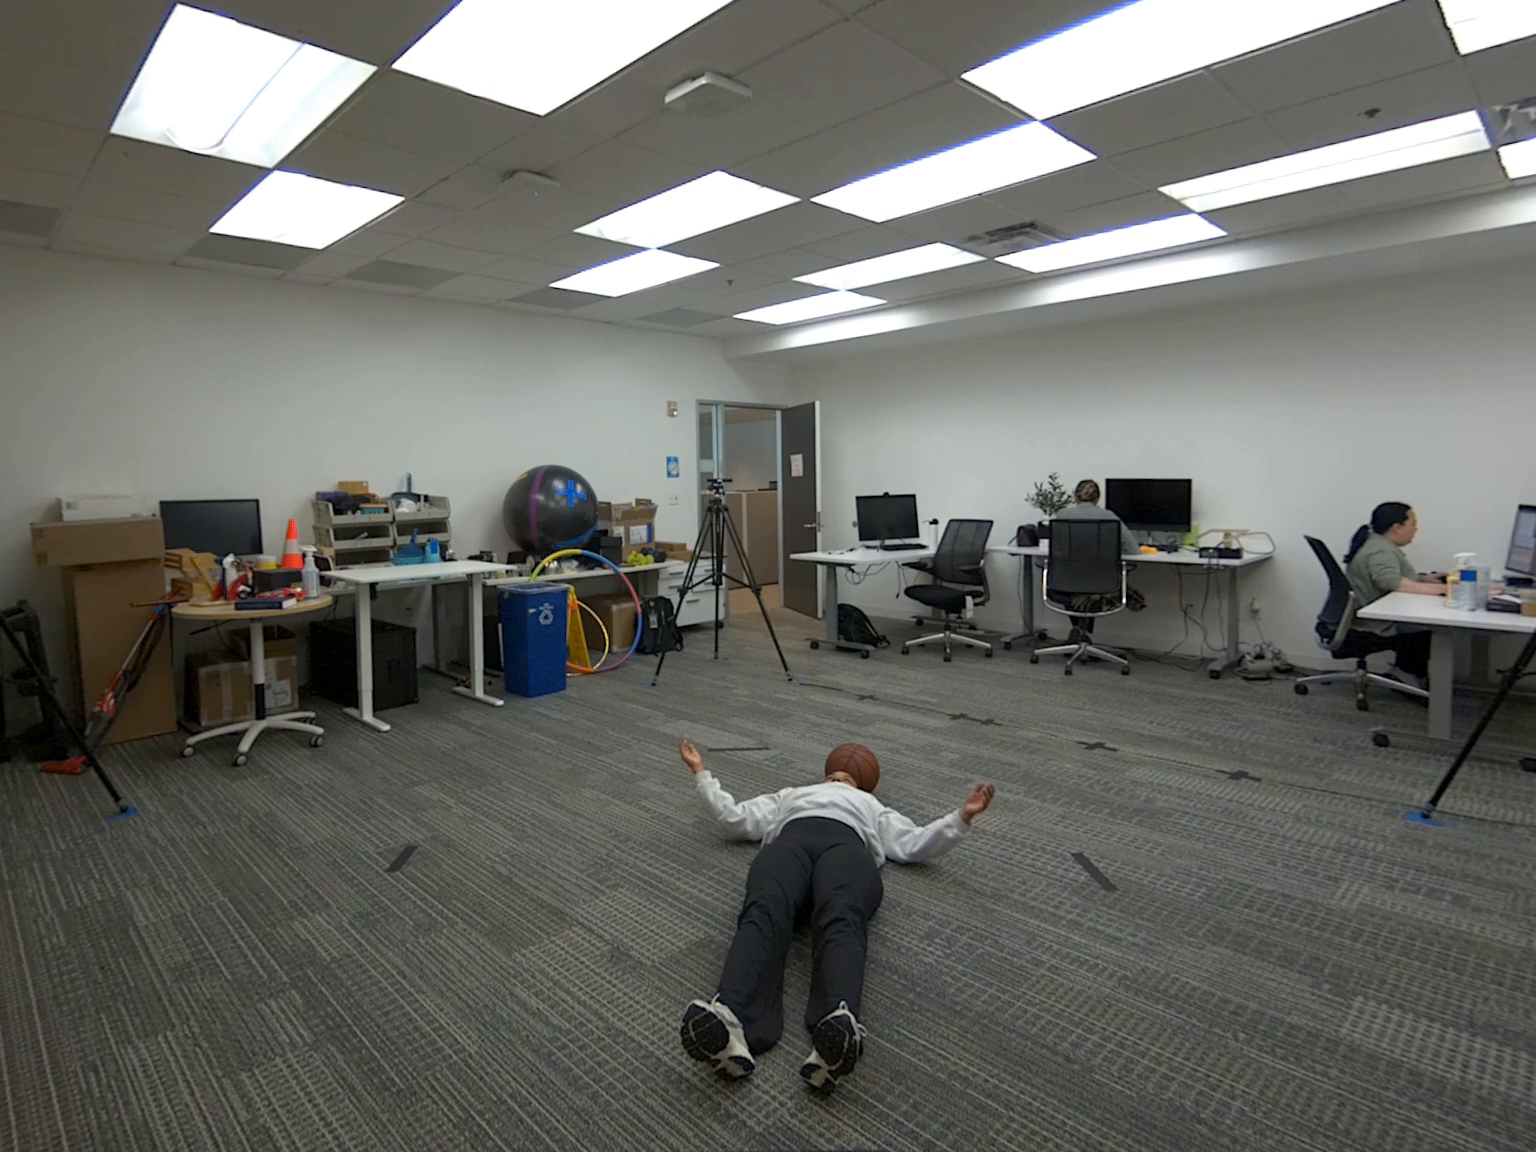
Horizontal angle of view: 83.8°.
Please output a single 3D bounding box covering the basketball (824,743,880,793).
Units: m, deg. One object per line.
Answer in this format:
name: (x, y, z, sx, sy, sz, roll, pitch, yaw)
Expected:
basketball: (0.369, 0.849, 3.727, 0.236, 0.235, 0.236, -4, 2, -2)
